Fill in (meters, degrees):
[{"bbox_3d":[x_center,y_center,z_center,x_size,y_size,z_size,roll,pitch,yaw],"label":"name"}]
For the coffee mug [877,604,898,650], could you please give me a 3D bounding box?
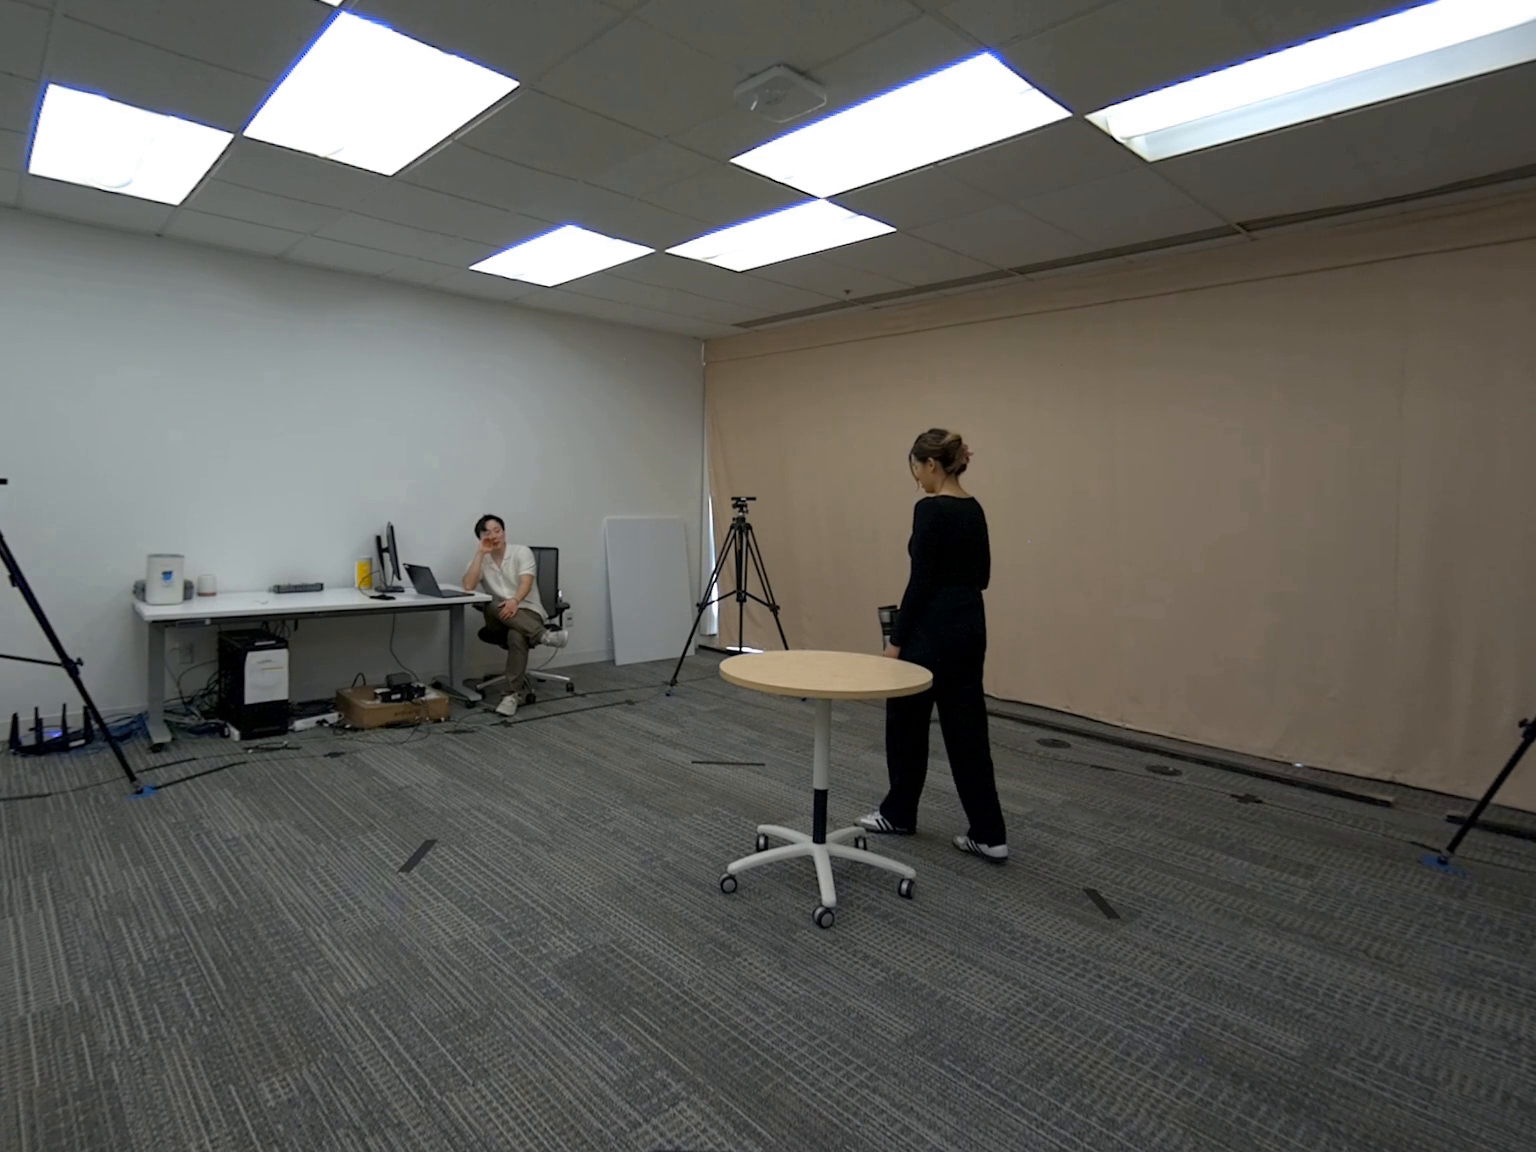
[{"bbox_3d":[0.540,0.232,3.749,0.088,0.202,0.122,-6,4,-3],"label":"coffee mug"}]
